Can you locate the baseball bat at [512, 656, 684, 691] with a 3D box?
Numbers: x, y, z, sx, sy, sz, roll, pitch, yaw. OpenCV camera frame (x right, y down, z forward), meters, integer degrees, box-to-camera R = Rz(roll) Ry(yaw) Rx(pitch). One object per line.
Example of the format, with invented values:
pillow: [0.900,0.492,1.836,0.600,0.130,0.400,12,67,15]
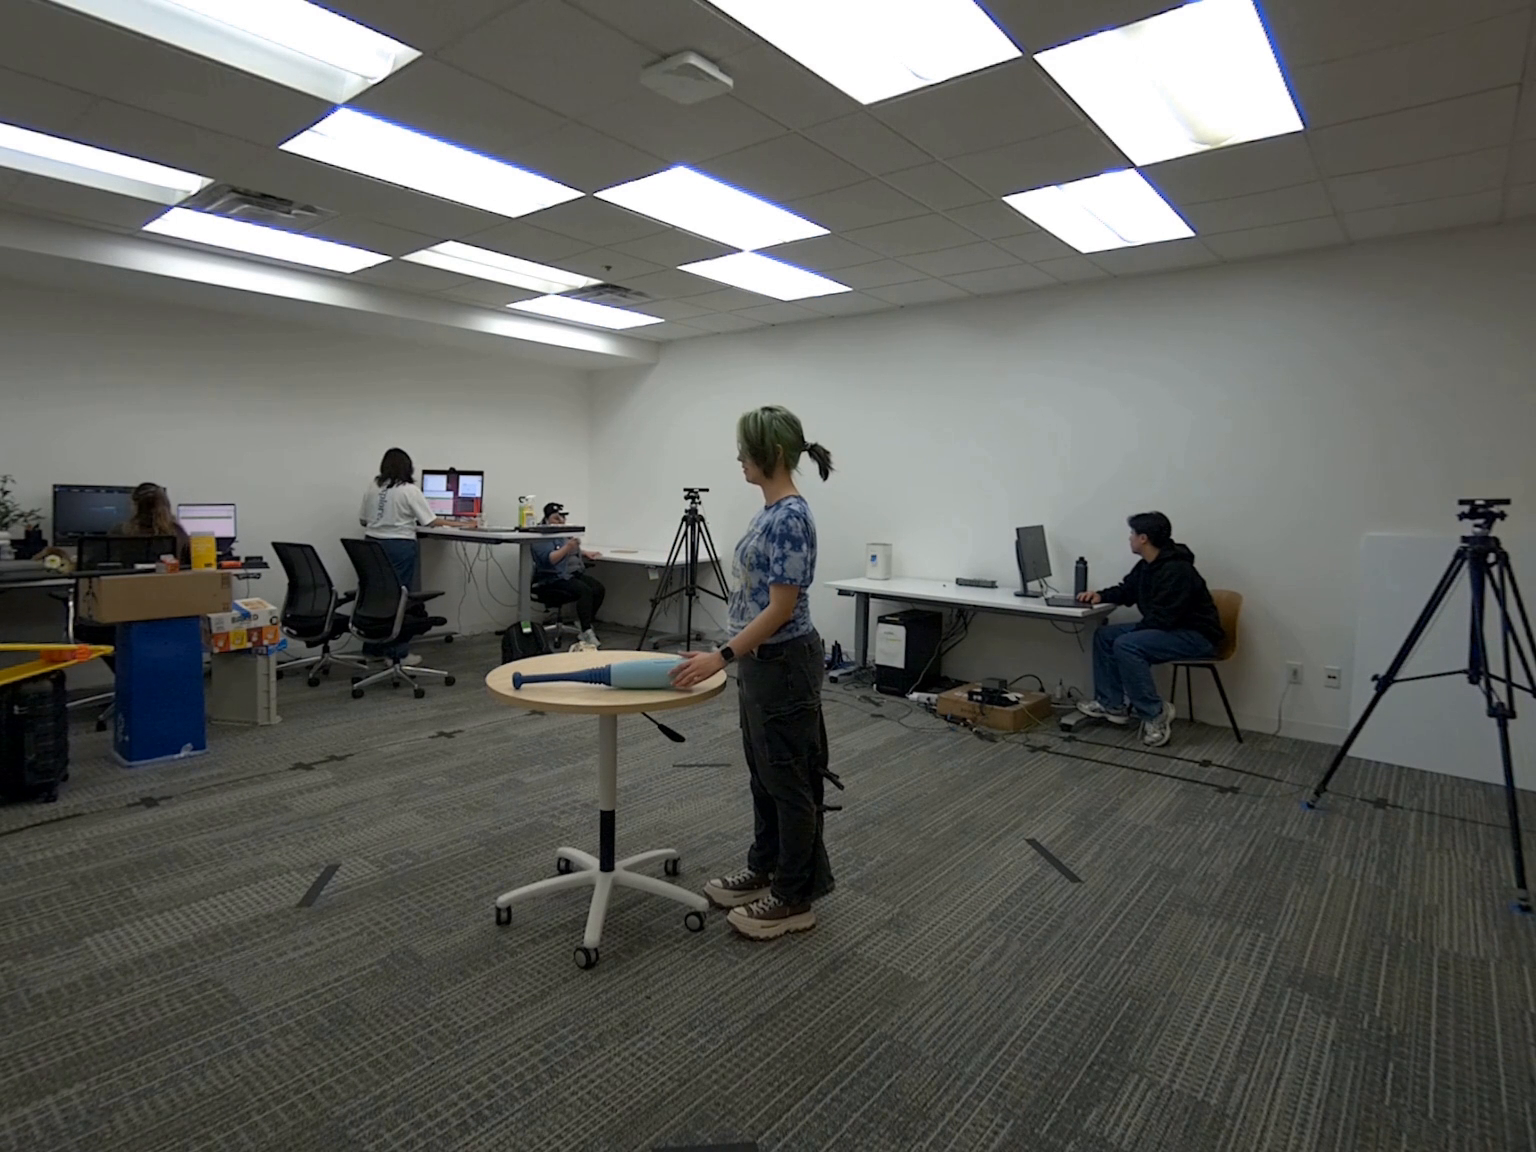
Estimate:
baseball bat: [-0.510,0.299,2.558,0.539,0.089,0.090,-2,4,-7]
